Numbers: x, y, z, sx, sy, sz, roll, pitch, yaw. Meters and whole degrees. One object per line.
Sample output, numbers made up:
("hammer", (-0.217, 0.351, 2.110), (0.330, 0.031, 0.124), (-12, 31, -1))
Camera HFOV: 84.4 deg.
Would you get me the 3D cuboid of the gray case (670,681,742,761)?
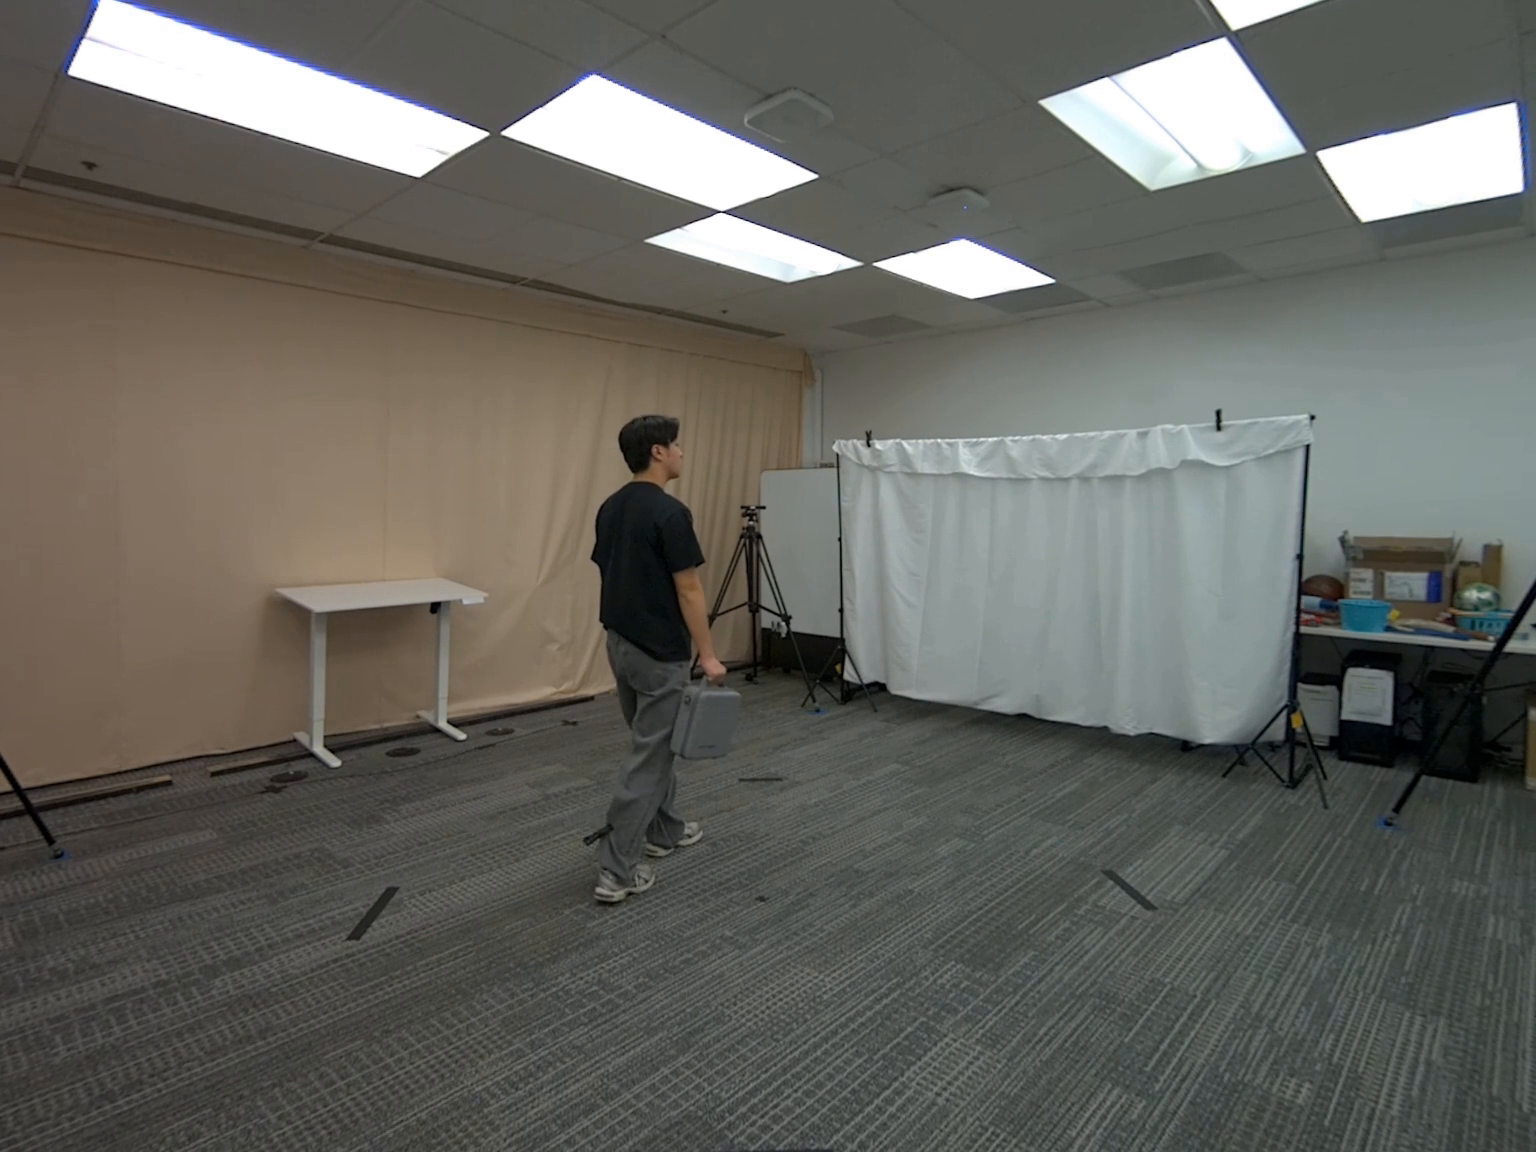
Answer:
("gray case", (-0.217, 0.511, 3.055), (0.106, 0.287, 0.254), (13, 0, 35))
